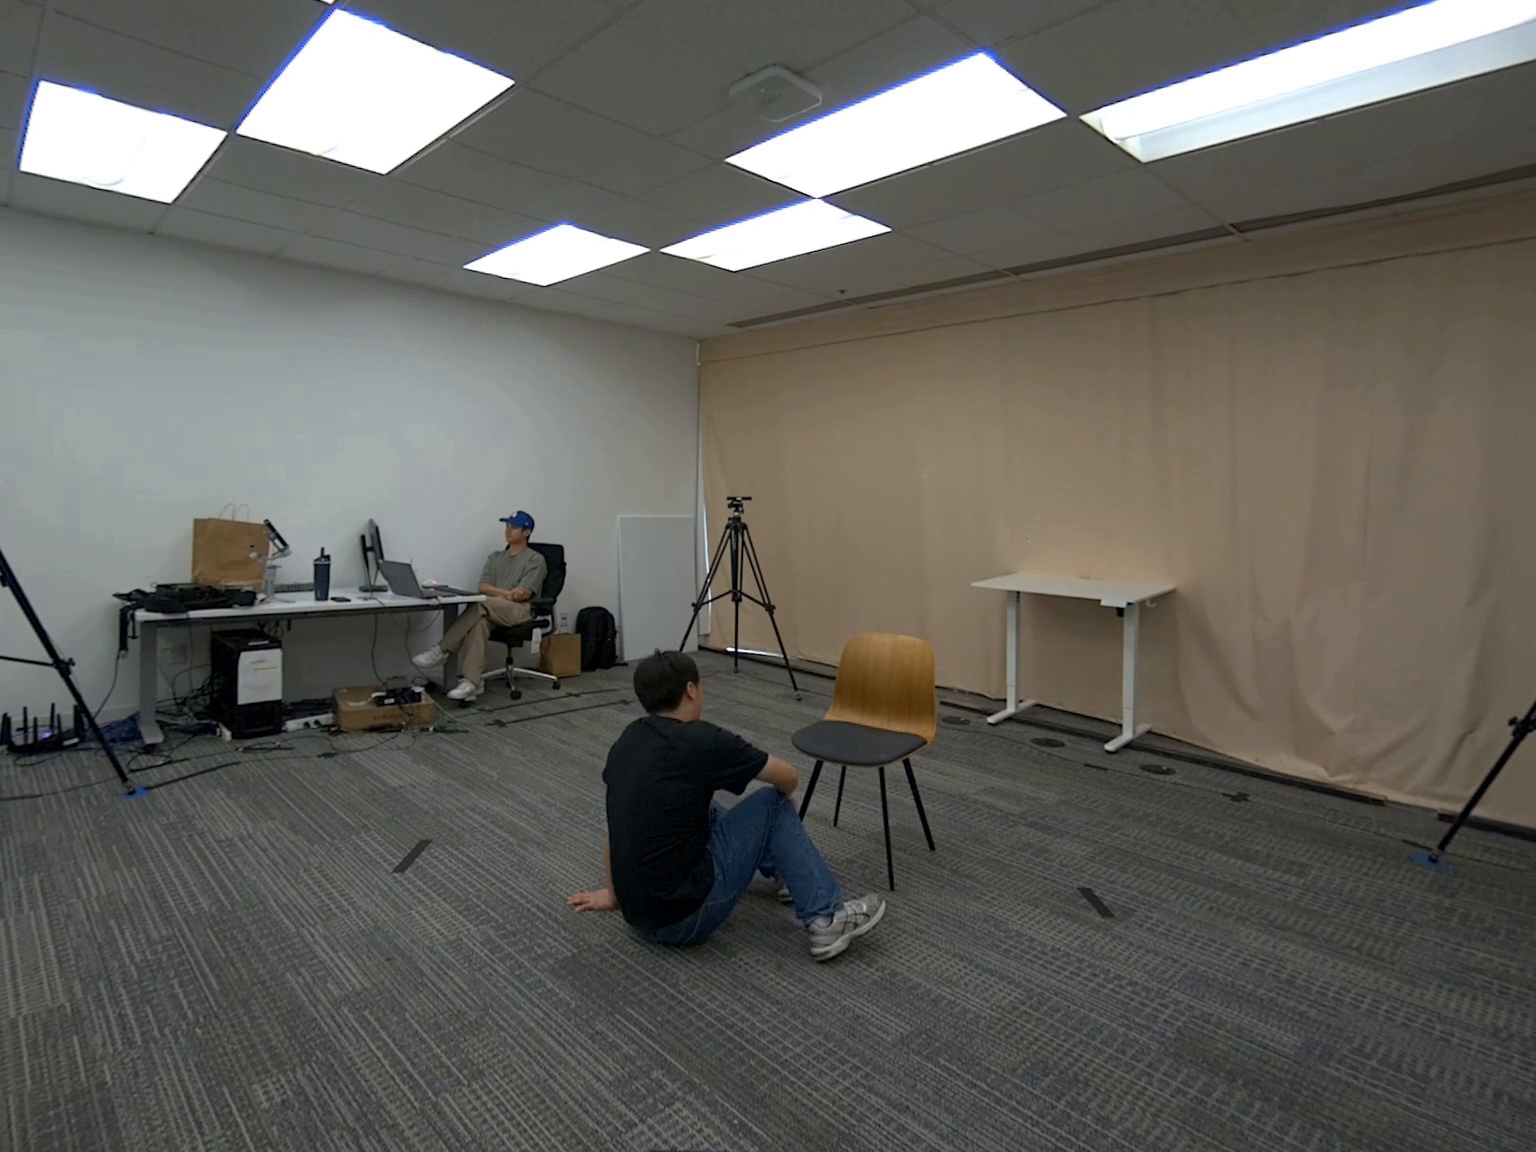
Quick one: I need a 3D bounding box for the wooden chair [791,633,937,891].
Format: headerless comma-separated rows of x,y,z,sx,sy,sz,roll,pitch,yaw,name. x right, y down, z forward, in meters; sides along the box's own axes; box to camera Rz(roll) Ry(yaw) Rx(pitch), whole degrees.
0.369,0.677,3.282,0.489,0.878,0.511,4,0,32,wooden chair
